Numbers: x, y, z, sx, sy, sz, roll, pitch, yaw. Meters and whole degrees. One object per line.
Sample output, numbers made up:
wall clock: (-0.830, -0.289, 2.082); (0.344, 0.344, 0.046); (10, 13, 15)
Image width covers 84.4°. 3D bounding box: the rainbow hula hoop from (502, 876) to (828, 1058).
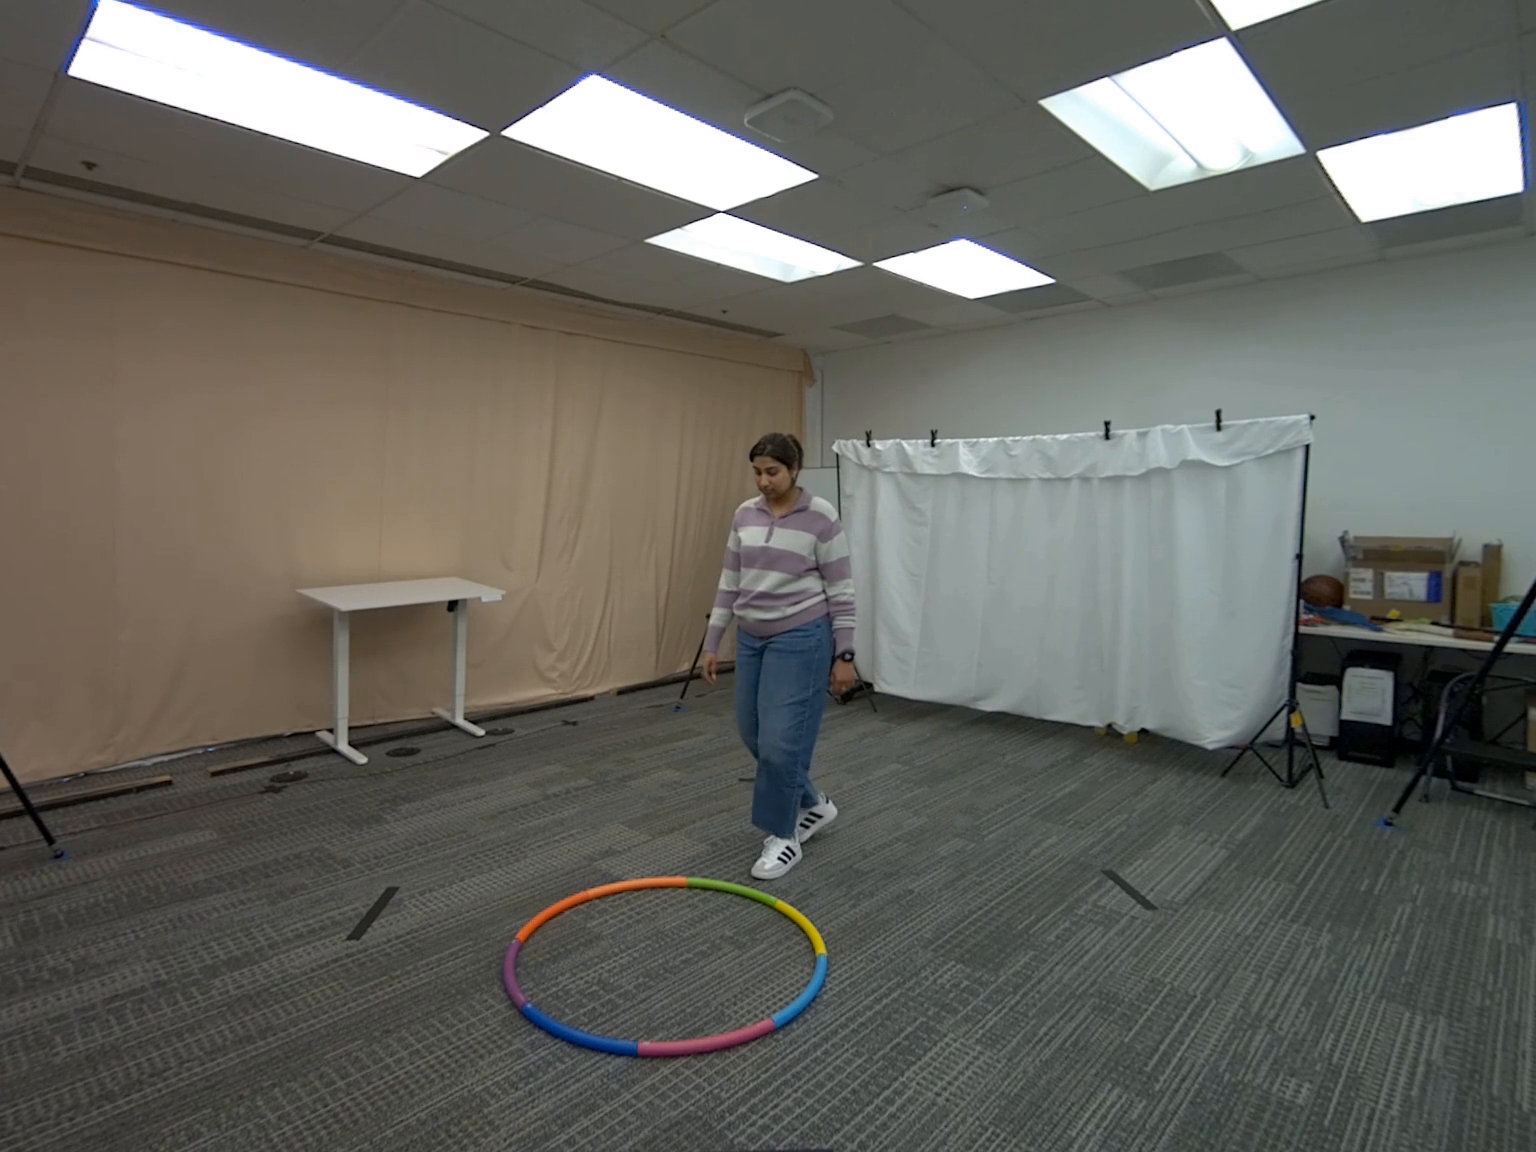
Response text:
rainbow hula hoop: (-0.313, 1.147, 2.612); (0.978, 0.035, 0.982); (-1, 4, -2)
